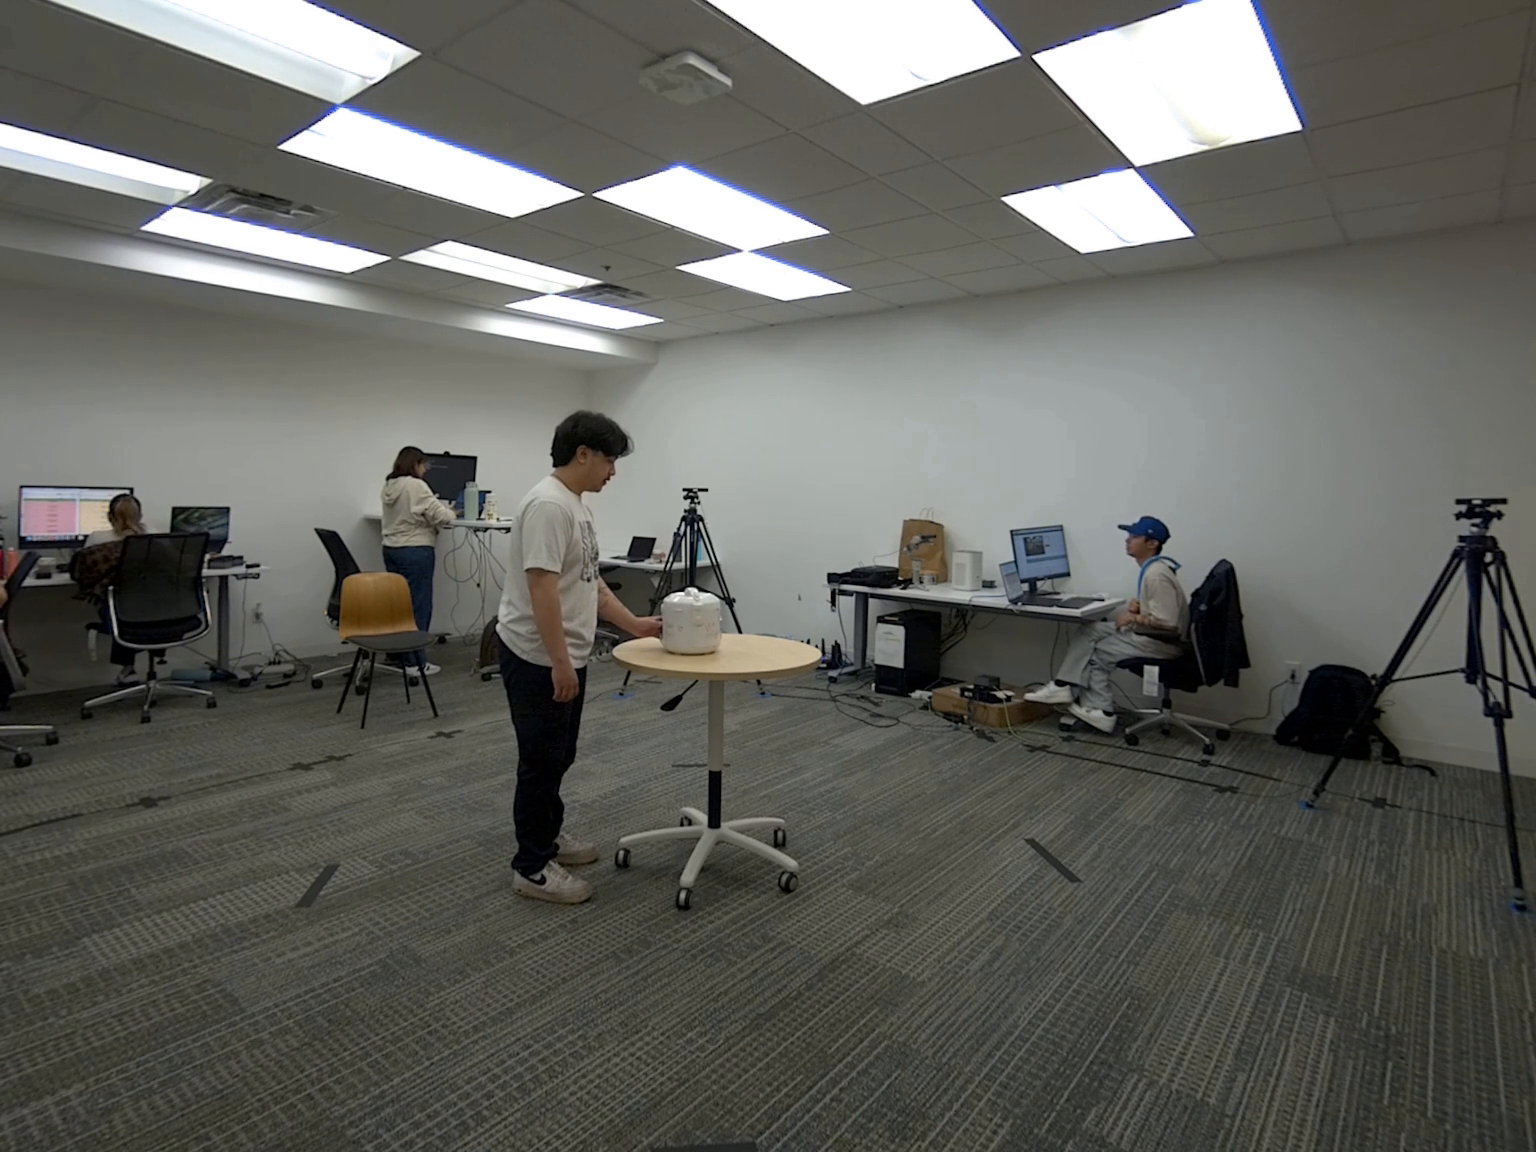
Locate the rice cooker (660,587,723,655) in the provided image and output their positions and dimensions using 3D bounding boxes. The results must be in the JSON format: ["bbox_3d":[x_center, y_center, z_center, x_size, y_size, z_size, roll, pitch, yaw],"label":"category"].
[{"bbox_3d":[-0.286,0.157,3.102,0.214,0.232,0.225,0,4,-16],"label":"rice cooker"}]
